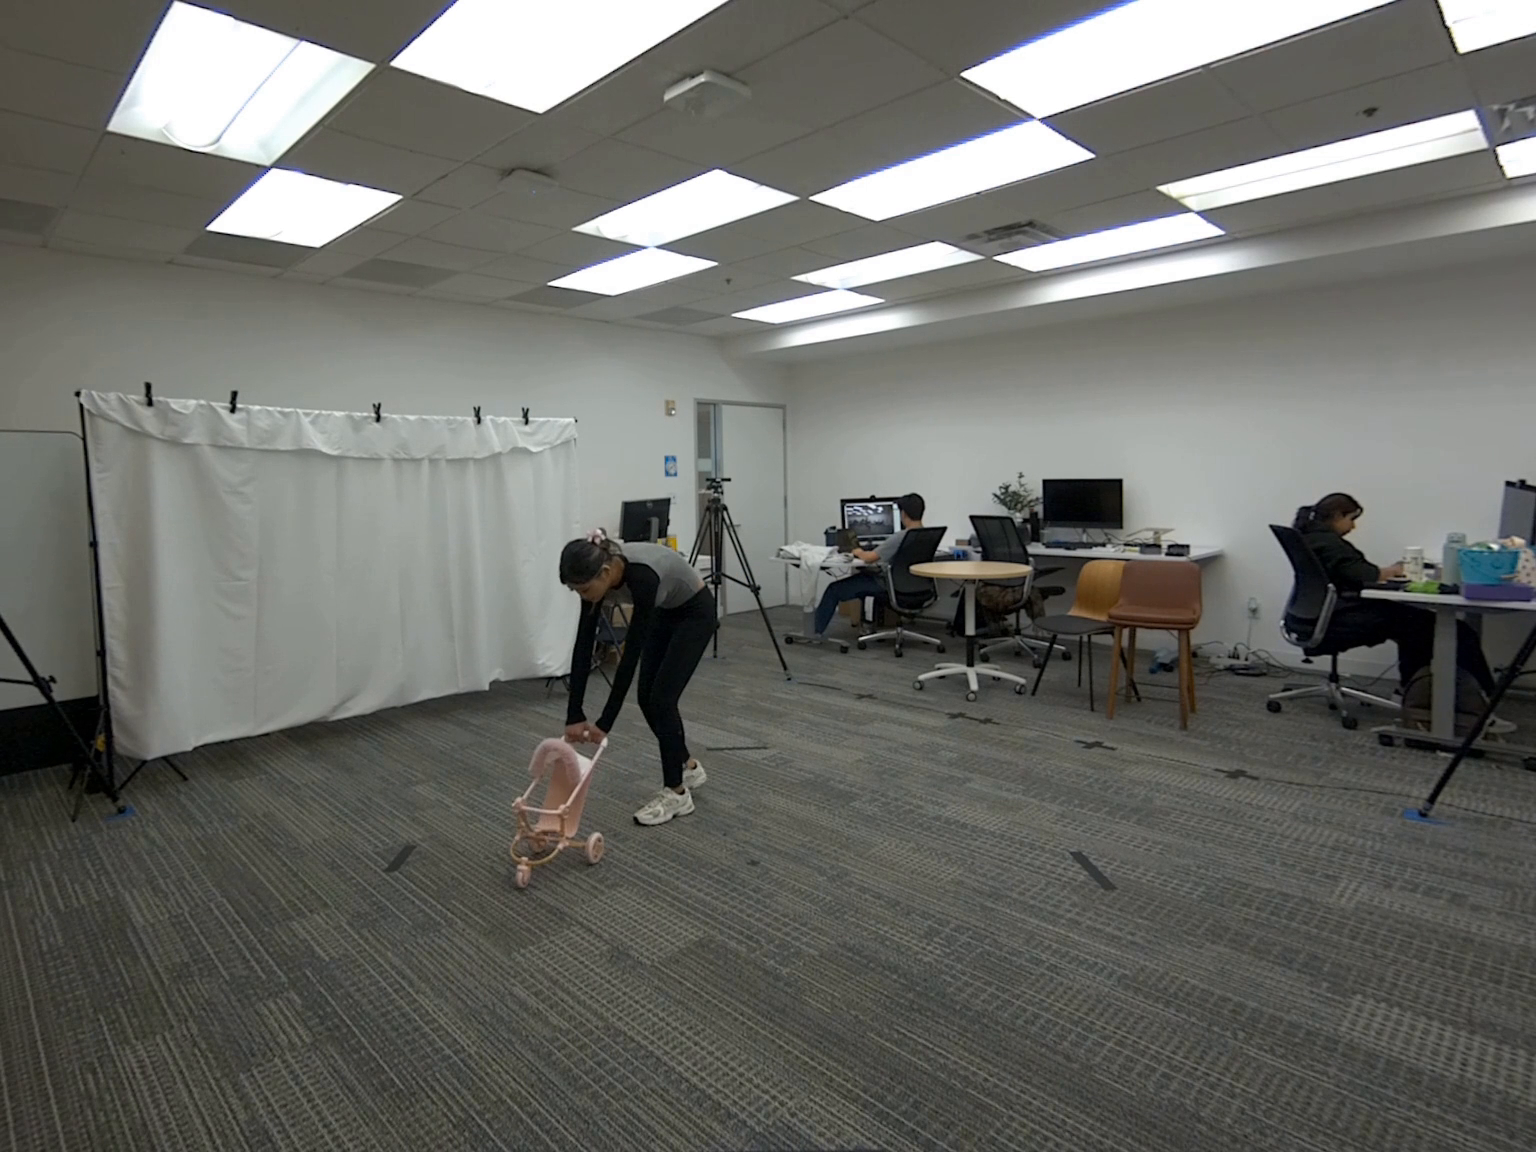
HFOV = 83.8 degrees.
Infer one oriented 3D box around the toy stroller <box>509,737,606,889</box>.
[{"bbox_3d":[-0.775,0.828,3.119,0.288,0.539,0.330,1,-11,29],"label":"toy stroller"}]
